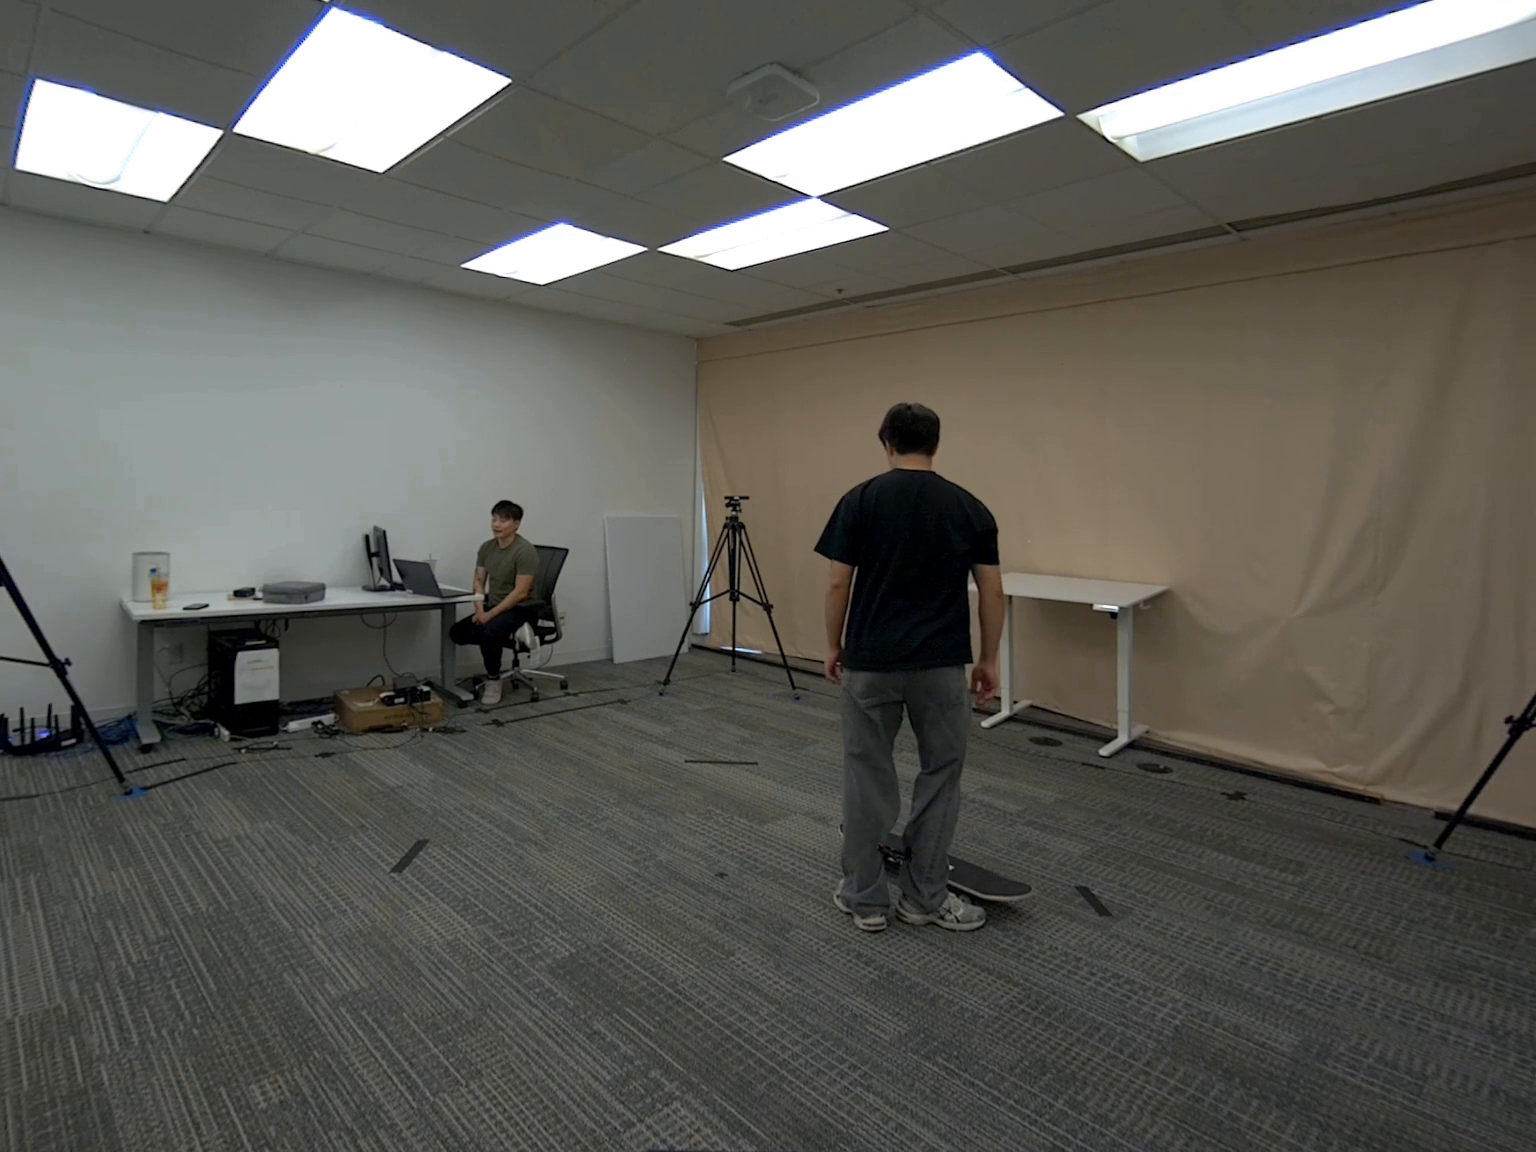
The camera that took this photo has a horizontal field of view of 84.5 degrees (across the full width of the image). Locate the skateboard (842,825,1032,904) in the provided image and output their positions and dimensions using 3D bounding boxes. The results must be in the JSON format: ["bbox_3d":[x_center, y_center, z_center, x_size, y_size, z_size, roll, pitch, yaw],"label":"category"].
[{"bbox_3d":[0.576,1.071,3.079,0.189,0.110,0.806,-1,6,-44],"label":"skateboard"}]
